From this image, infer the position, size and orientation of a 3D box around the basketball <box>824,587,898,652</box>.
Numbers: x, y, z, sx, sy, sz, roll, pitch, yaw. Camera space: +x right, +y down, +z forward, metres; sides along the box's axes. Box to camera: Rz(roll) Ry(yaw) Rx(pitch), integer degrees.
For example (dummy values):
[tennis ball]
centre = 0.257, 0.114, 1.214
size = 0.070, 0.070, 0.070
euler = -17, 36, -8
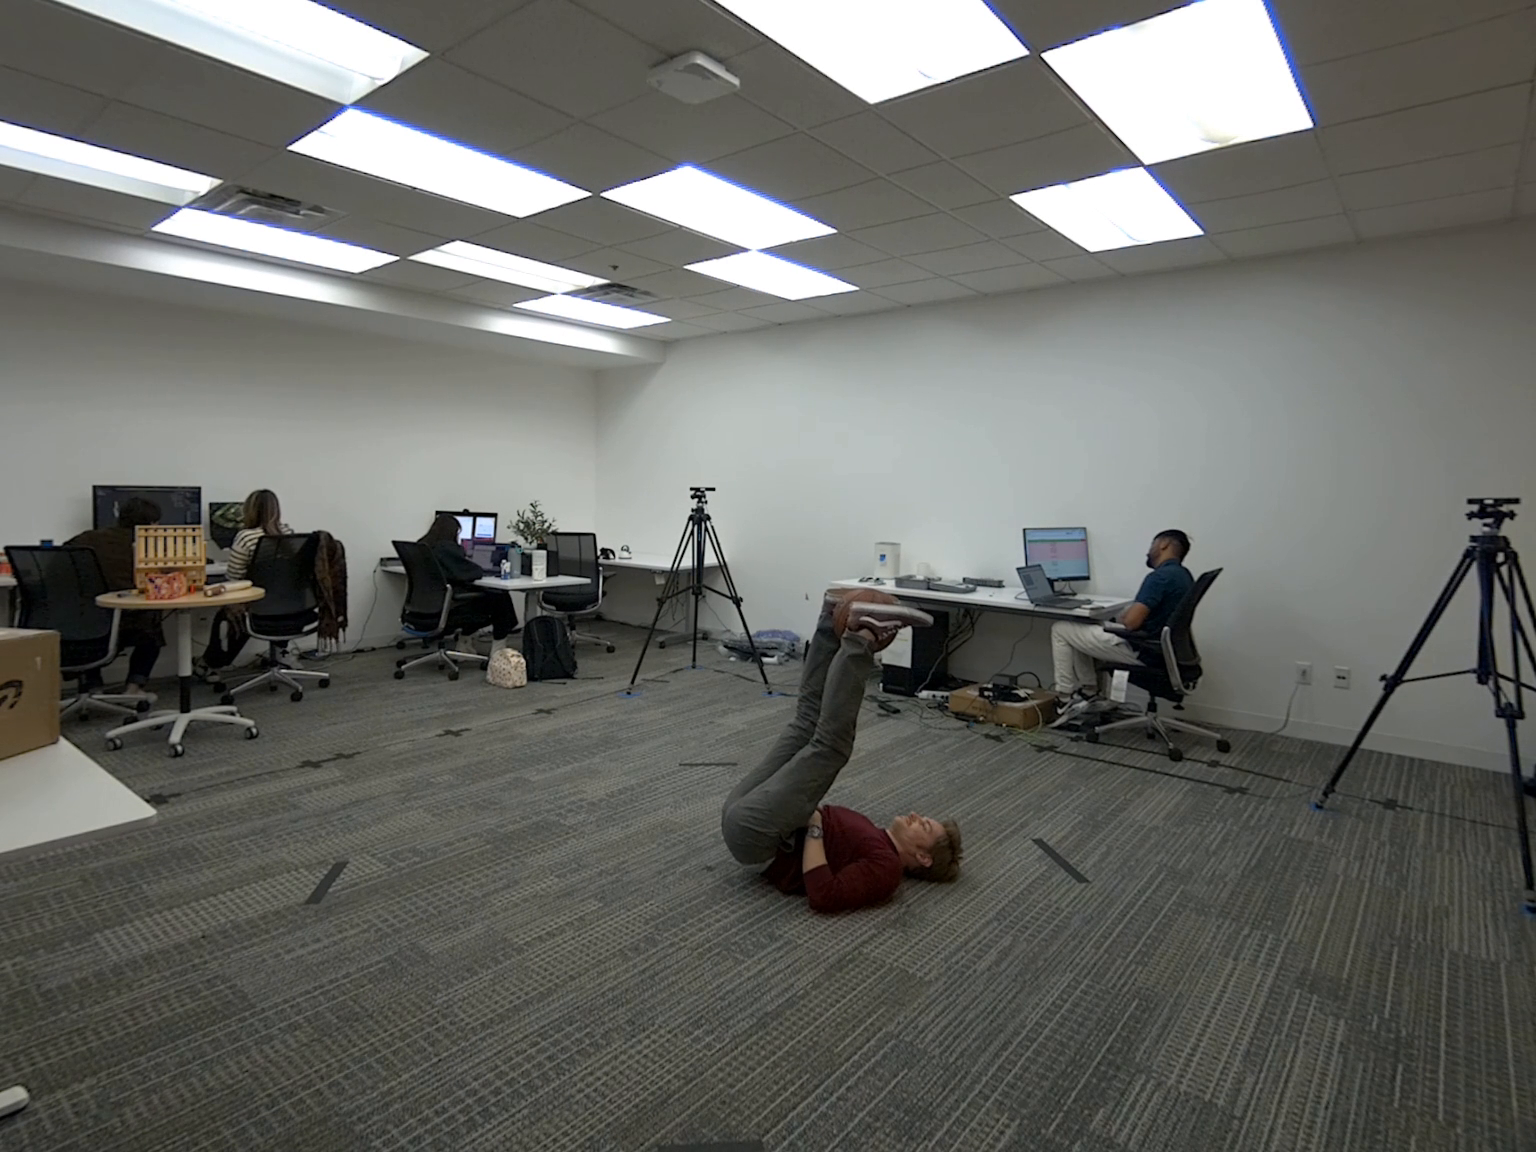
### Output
[basketball]
centre = 0.338, 0.152, 3.081
size = 0.236, 0.235, 0.237
euler = -3, 3, -2
